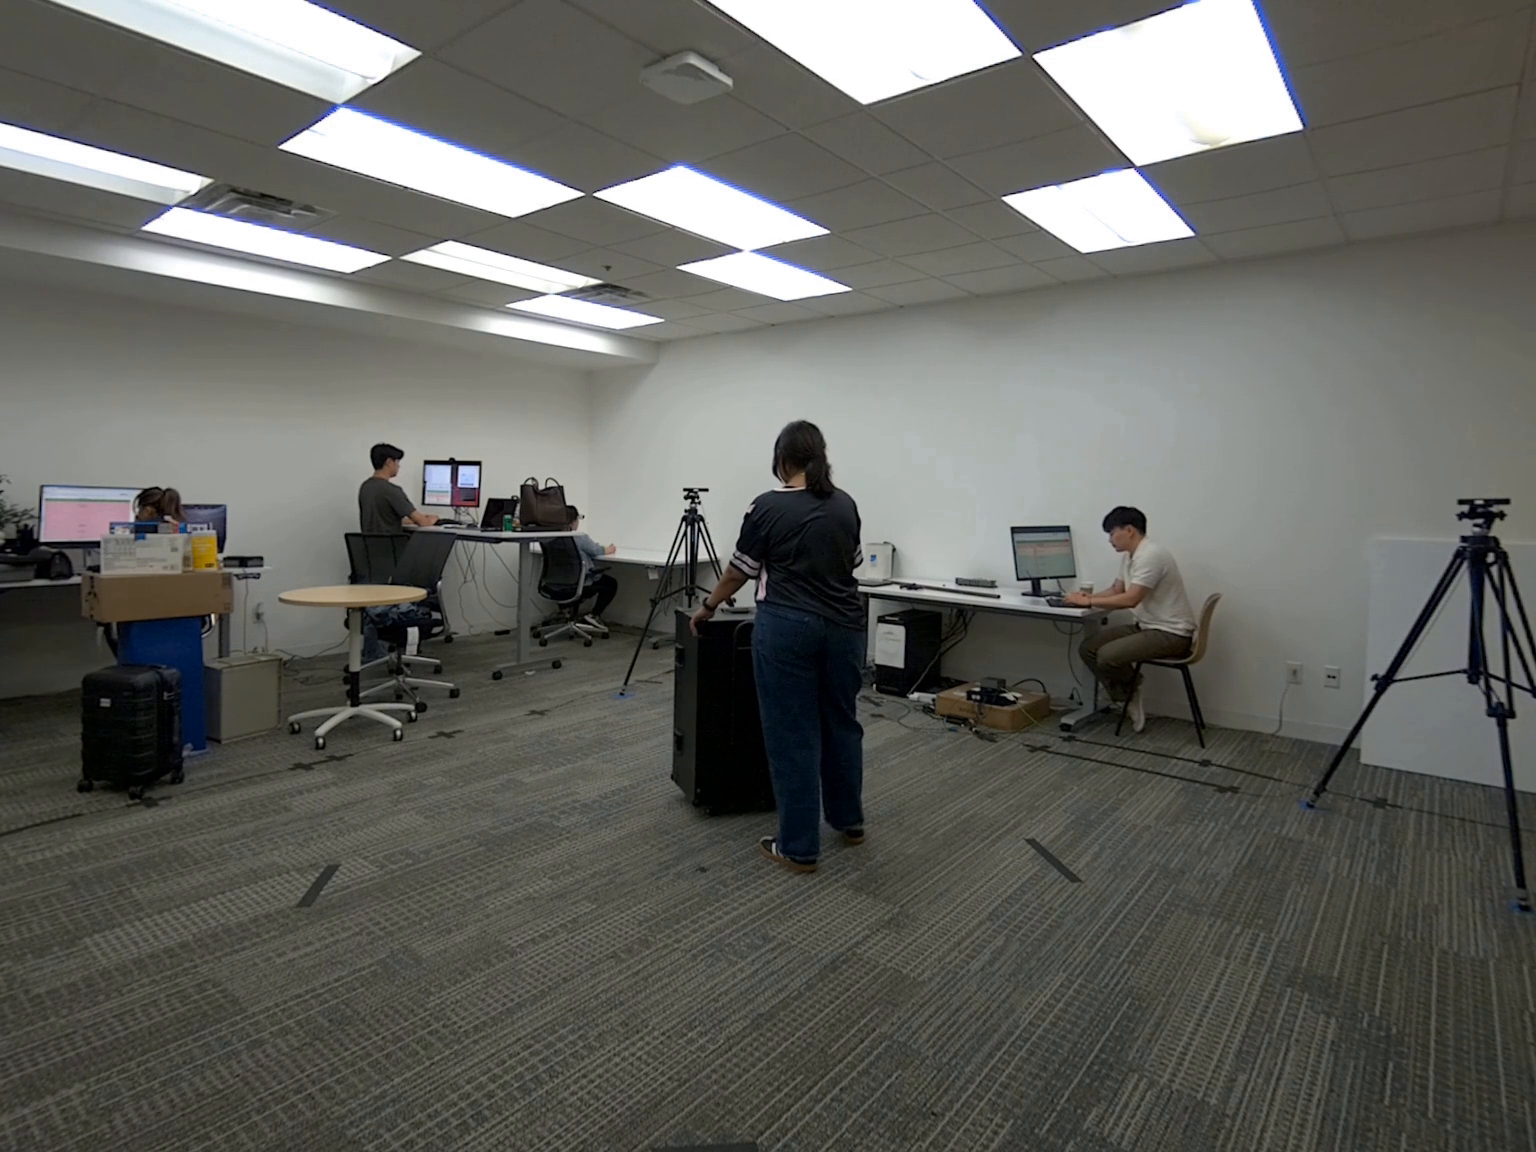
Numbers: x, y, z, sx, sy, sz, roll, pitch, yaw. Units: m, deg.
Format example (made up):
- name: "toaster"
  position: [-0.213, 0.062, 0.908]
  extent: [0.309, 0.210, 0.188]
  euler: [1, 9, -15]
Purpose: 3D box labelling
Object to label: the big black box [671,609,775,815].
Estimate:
- name: "big black box"
  position: [-0.147, 0.585, 3.748]
  extent: [0.513, 0.865, 0.394]
  euler: [0, 4, -20]
